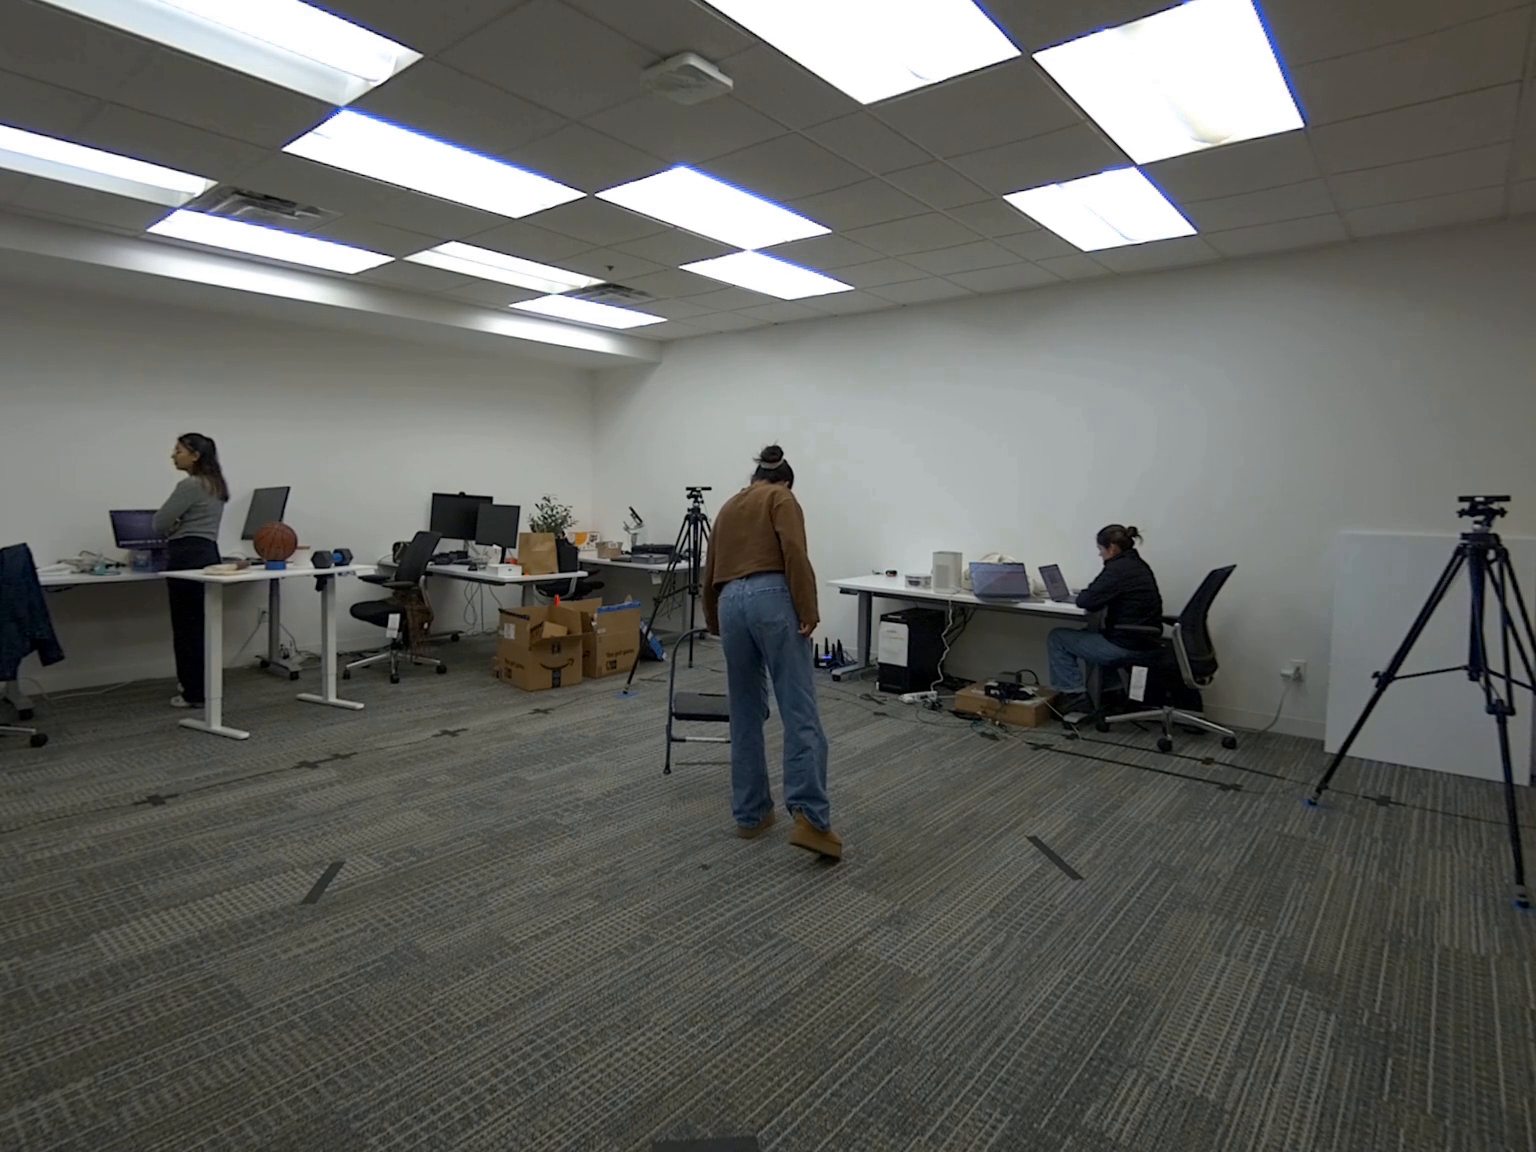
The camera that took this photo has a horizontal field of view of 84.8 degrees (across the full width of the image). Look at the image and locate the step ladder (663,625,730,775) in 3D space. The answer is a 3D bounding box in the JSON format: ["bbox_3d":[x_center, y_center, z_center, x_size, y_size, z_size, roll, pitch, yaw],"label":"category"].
[{"bbox_3d":[-0.265,0.565,3.922,0.428,0.600,0.355,3,12,-6],"label":"step ladder"}]
